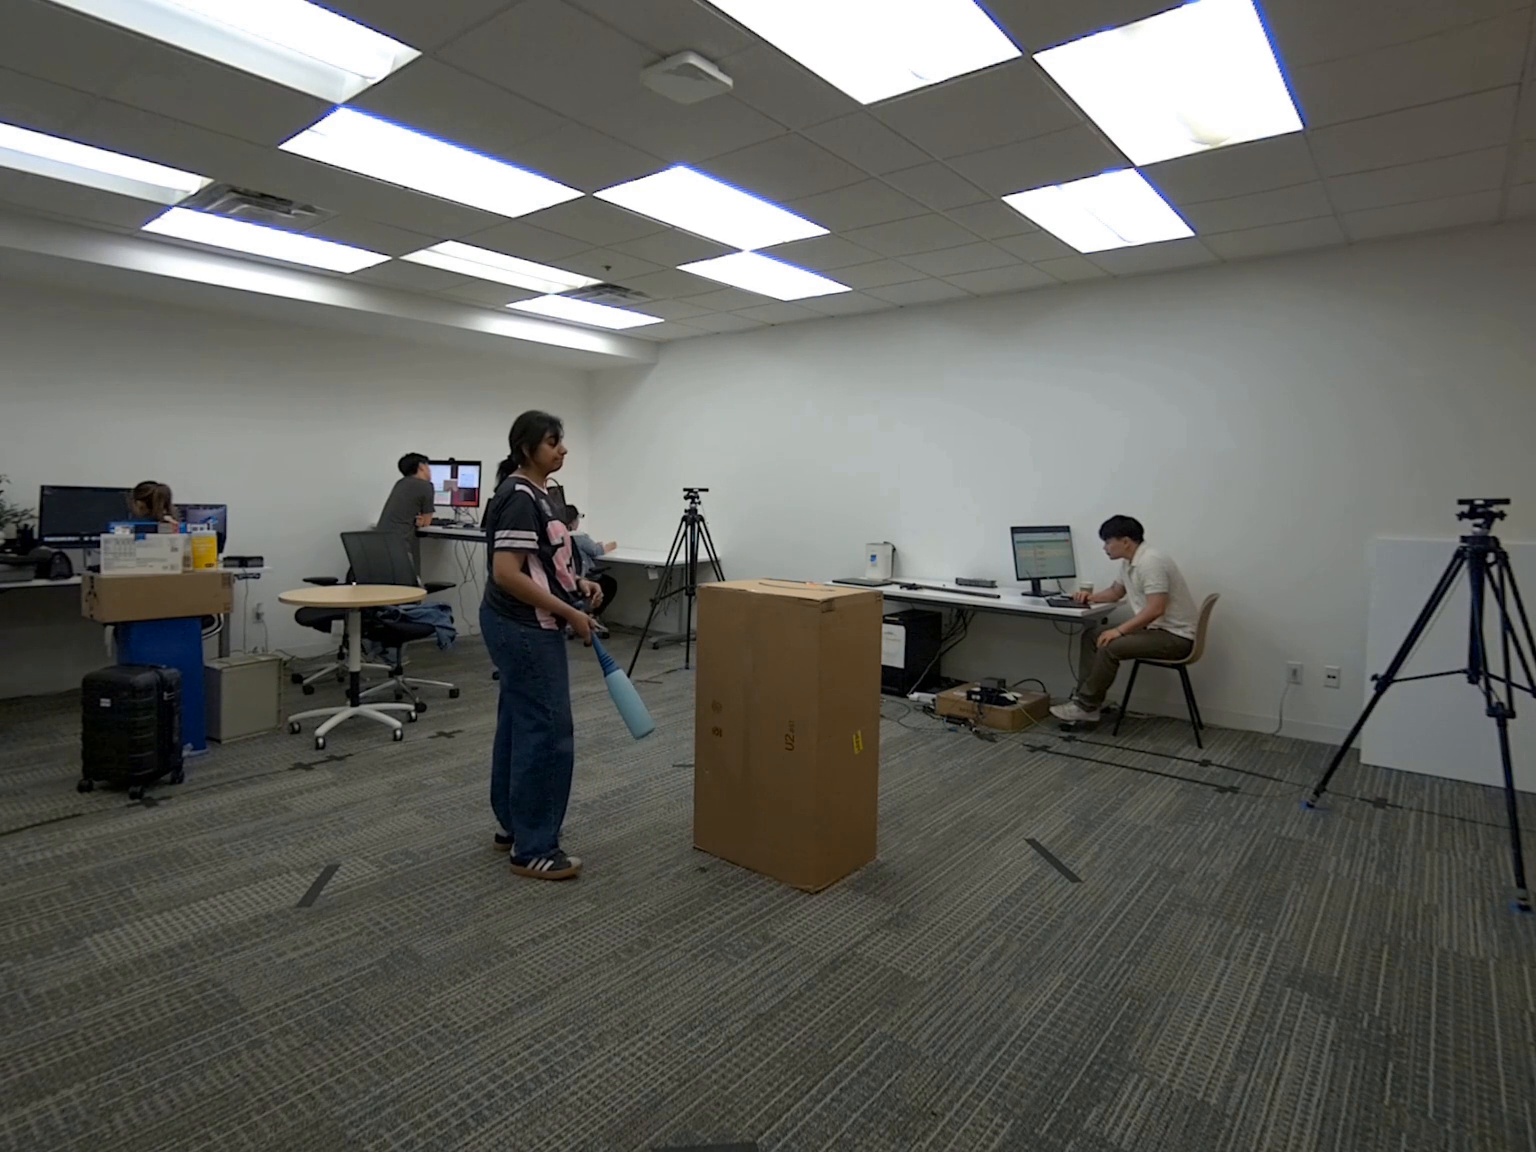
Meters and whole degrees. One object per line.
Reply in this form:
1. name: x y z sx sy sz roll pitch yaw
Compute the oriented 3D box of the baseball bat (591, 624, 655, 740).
1. baseball bat: -0.572 0.339 3.063 0.089 0.554 0.087 -29 -14 -9
